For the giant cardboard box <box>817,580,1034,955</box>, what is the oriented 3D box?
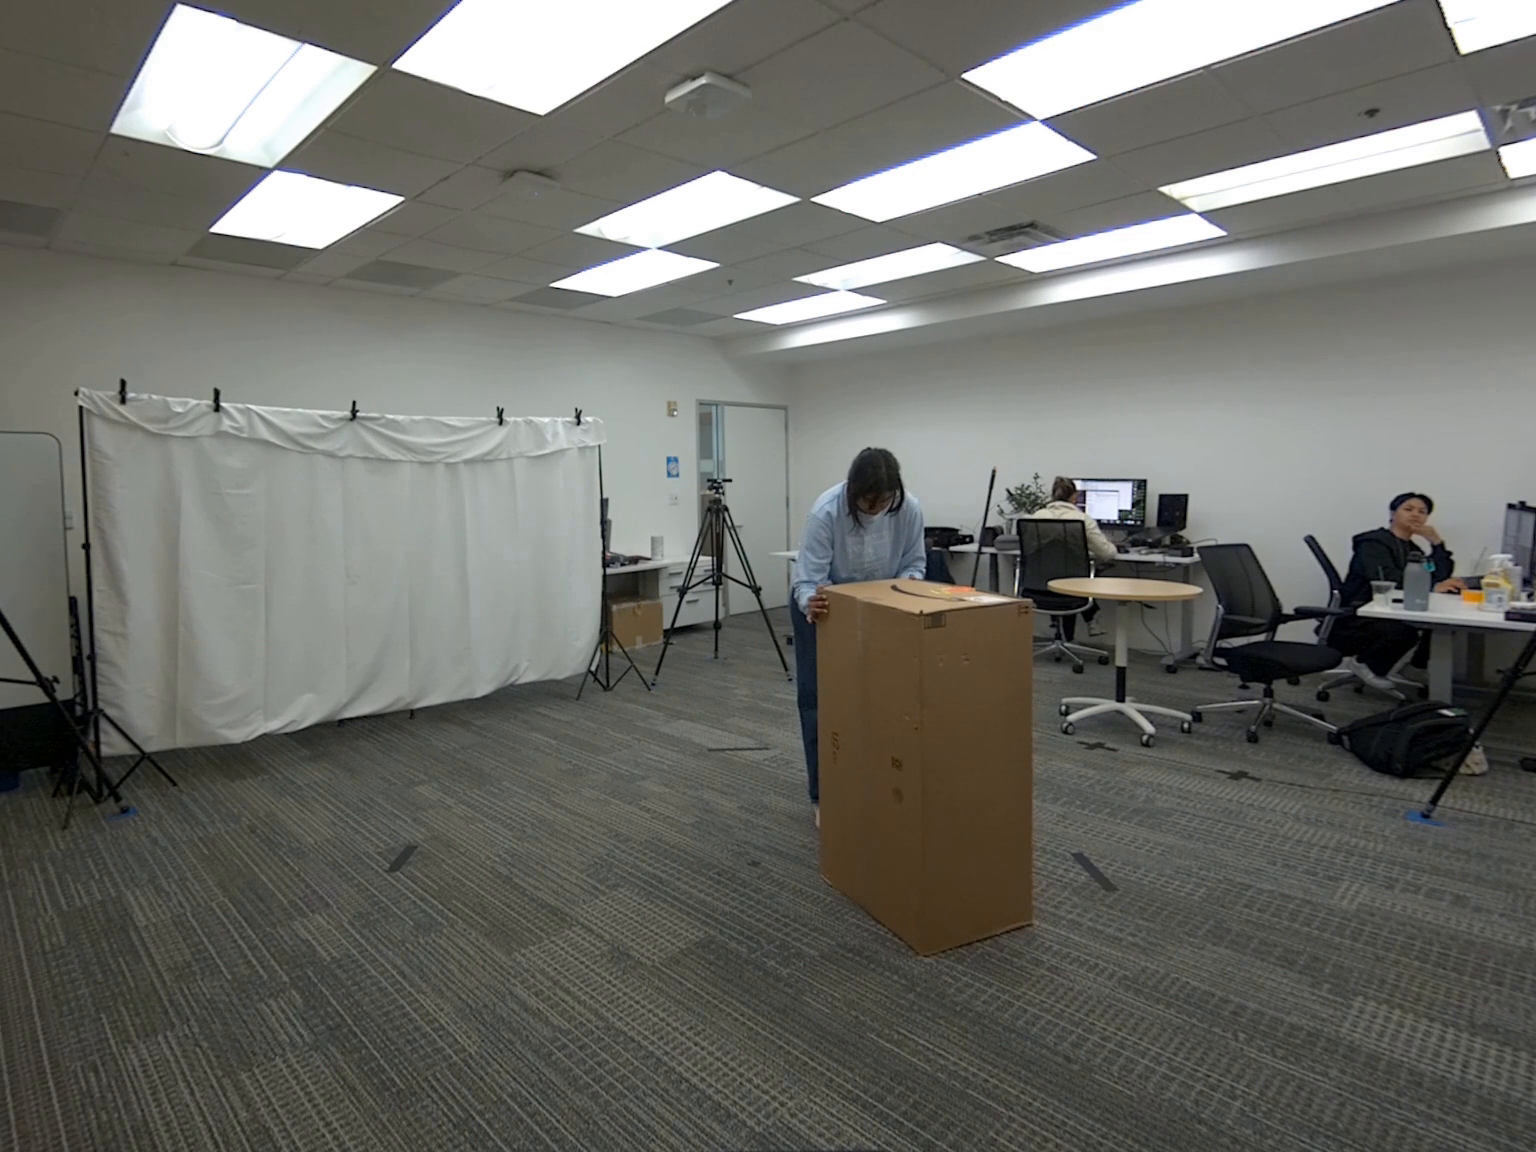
[{"bbox_3d":[0.497,0.569,2.786,0.417,1.021,0.593,-3,6,-27],"label":"giant cardboard box"}]
